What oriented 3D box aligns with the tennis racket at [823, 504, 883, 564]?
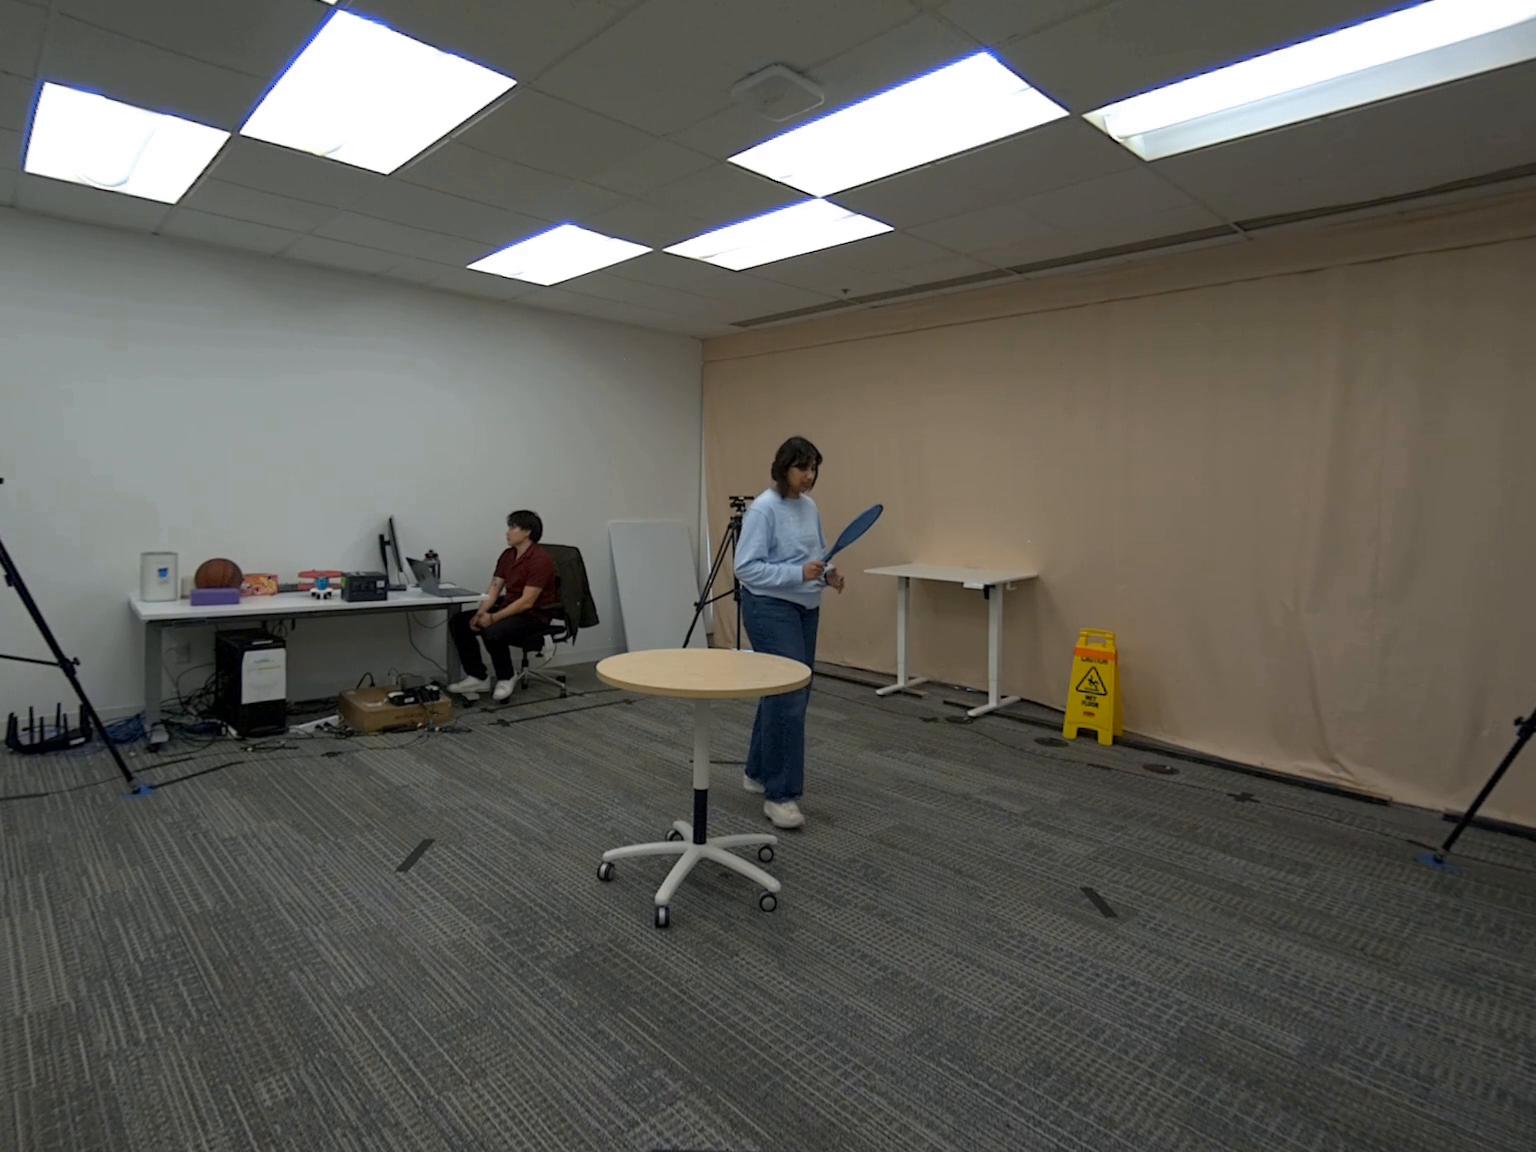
[{"bbox_3d":[0.322,-0.150,3.624,0.032,0.433,0.209,48,13,19],"label":"tennis racket"}]
